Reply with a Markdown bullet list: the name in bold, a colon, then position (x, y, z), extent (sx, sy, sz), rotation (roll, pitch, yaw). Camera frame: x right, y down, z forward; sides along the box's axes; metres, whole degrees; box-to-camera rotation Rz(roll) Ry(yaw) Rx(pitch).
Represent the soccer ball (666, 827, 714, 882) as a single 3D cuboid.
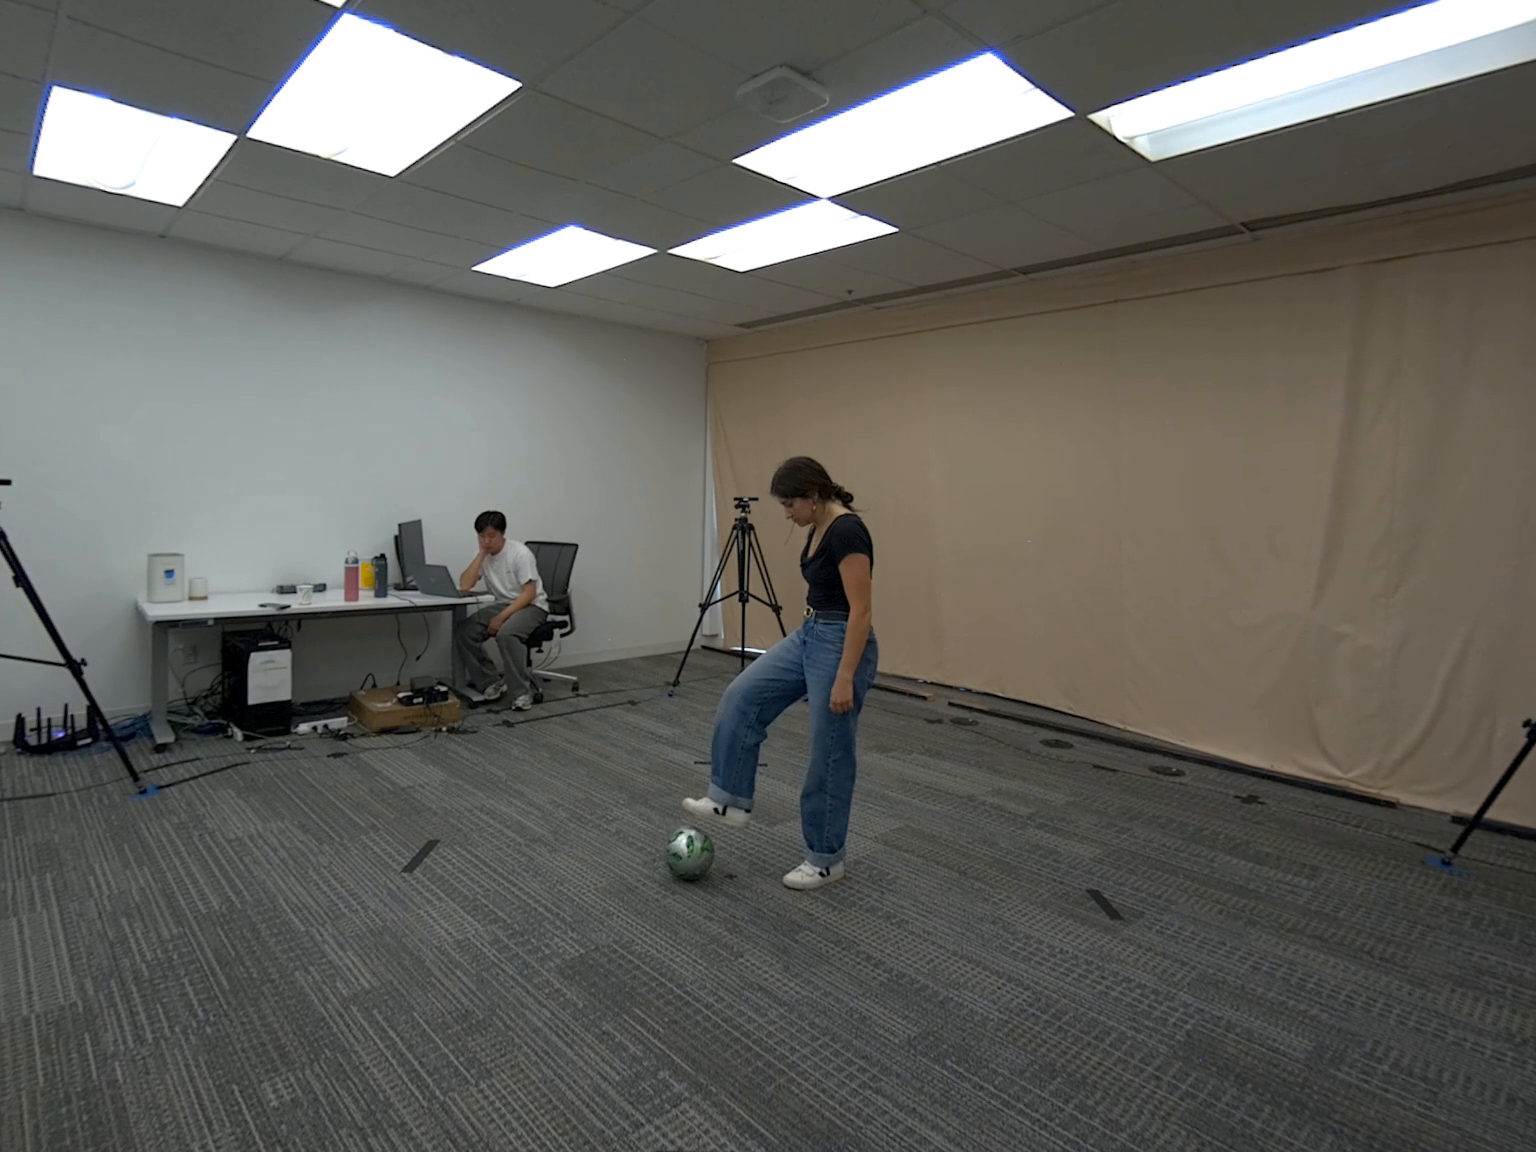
- **soccer ball**: position (-0.288, 1.003, 3.082), extent (0.187, 0.187, 0.188), rotation (1, 4, -1)
